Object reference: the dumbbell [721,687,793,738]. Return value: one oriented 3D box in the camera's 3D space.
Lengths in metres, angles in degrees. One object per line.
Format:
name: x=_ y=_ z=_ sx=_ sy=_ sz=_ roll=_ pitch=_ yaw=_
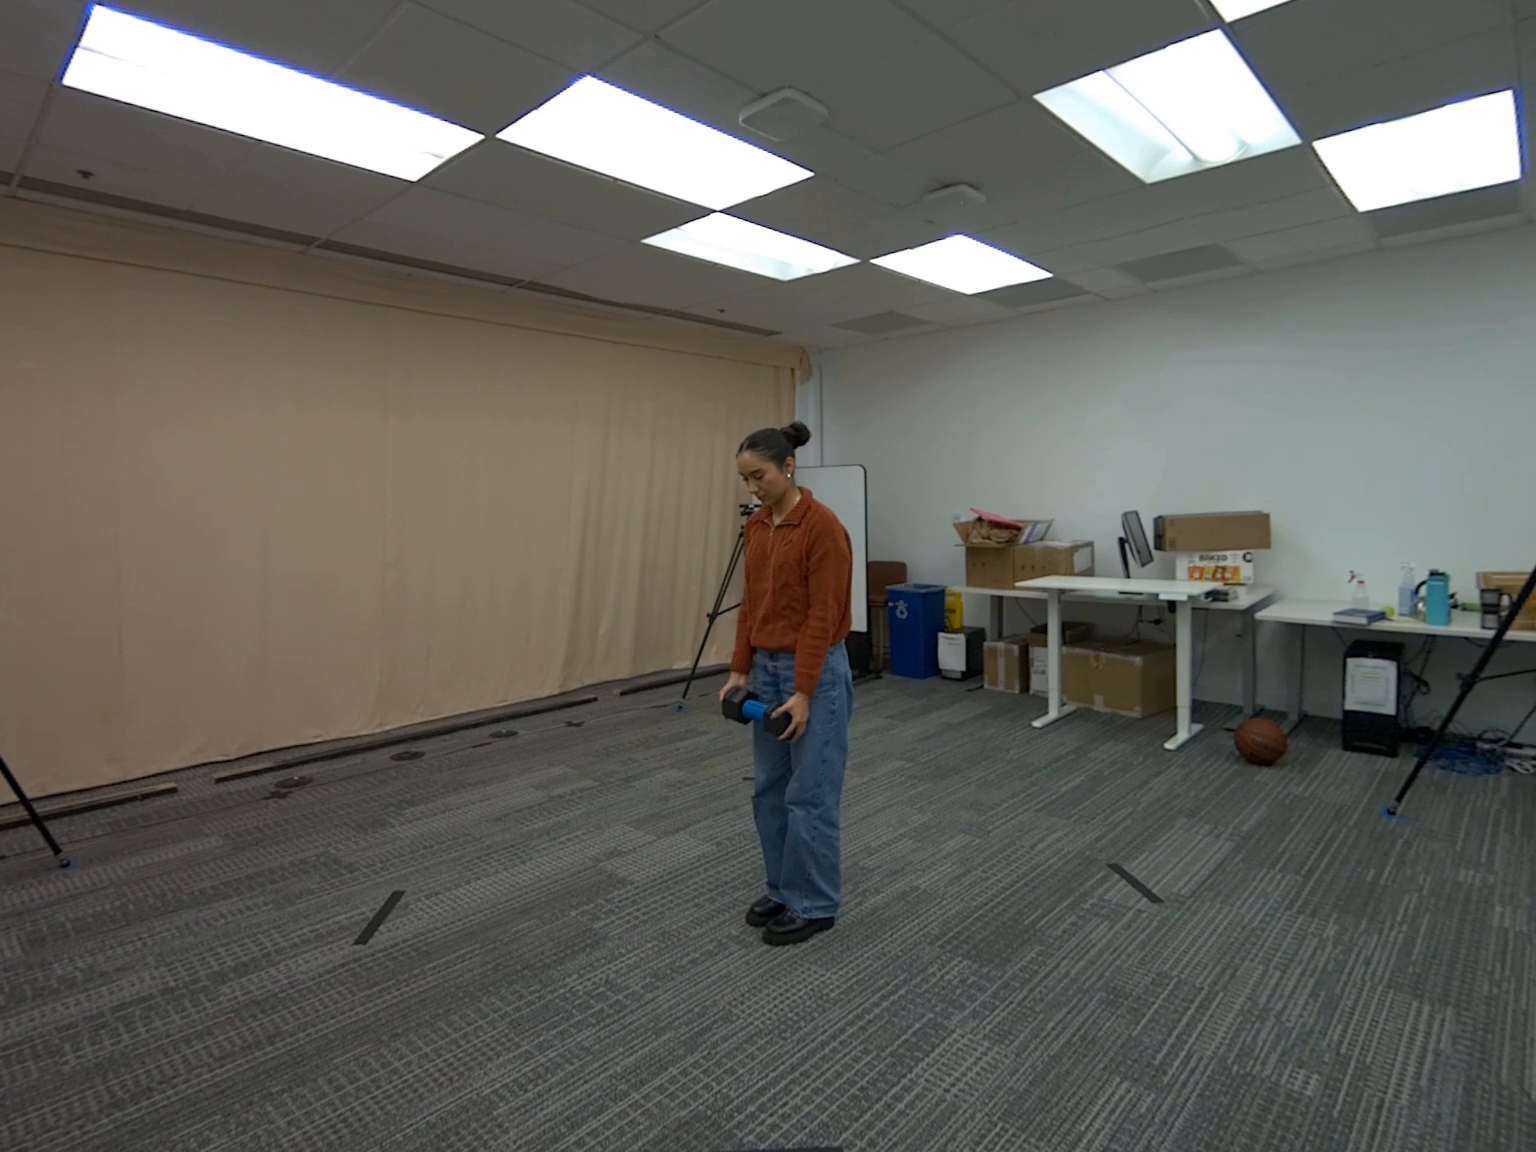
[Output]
dumbbell: x=-0.016 y=0.433 z=2.705 sx=0.106 sy=0.122 sz=0.303 roll=-8 pitch=9 yaw=-35
